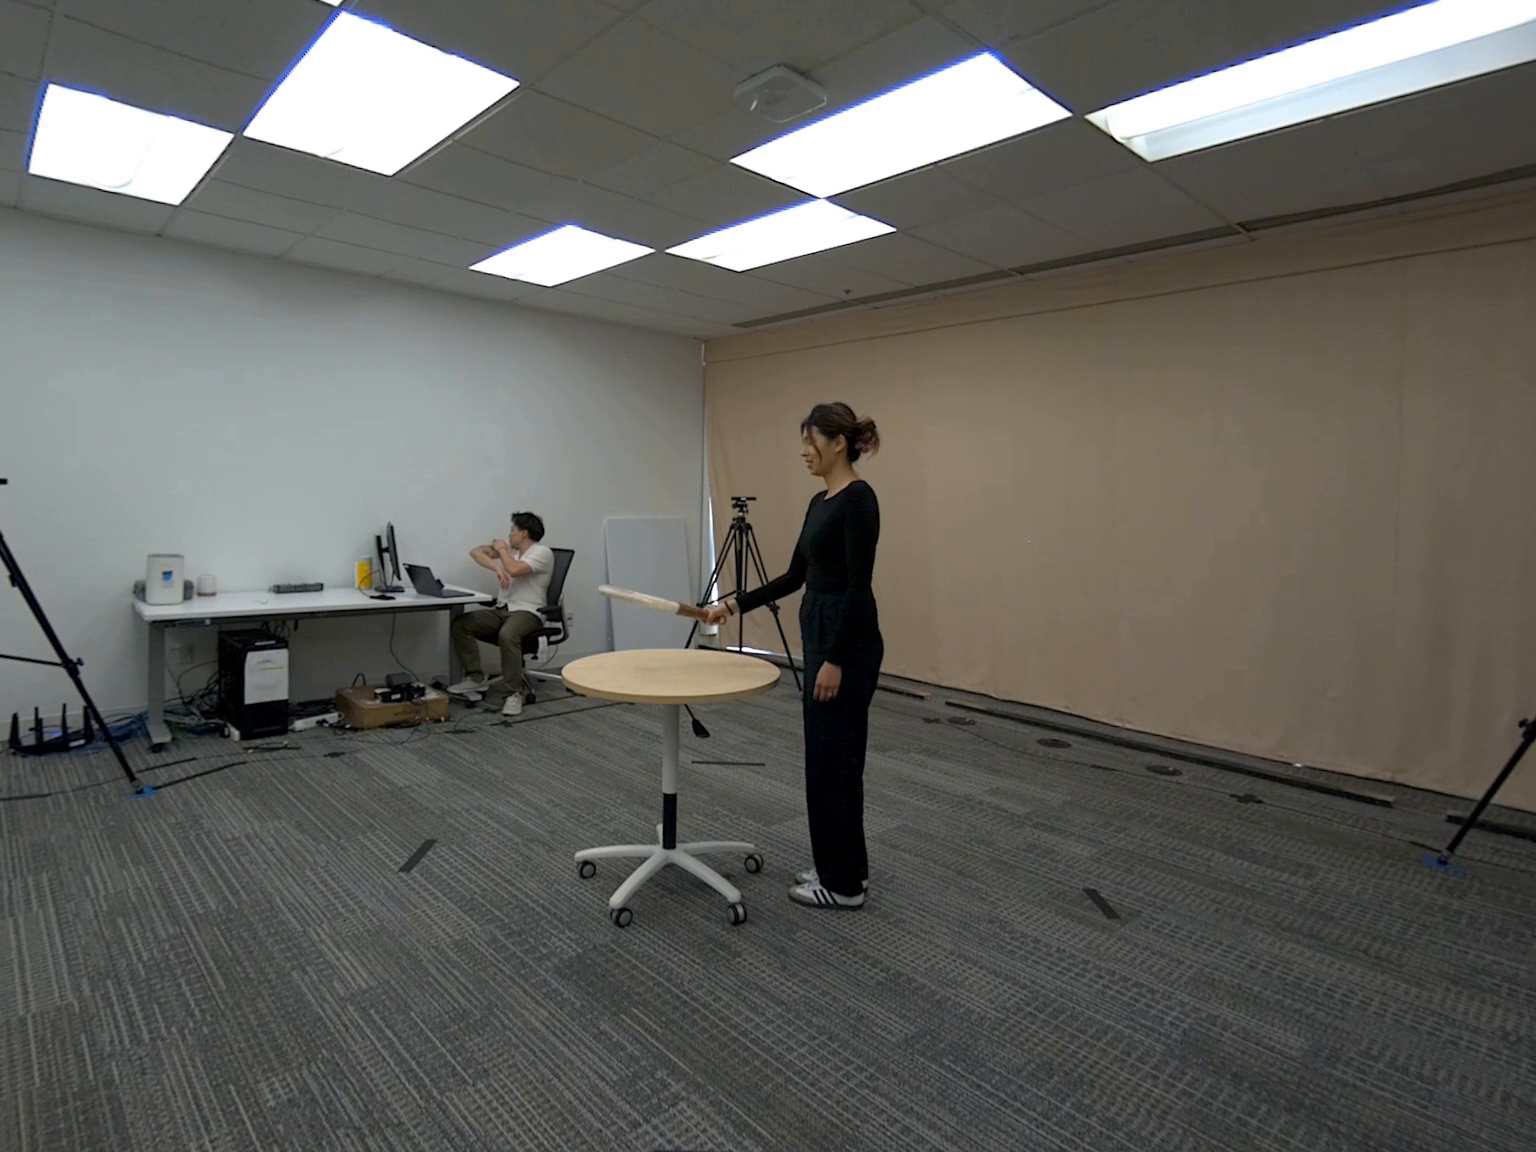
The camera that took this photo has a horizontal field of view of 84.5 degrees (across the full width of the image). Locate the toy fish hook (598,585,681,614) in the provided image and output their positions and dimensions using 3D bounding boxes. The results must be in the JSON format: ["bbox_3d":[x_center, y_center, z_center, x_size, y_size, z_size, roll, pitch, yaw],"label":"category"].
[{"bbox_3d":[-0.346,0.109,2.940,0.495,0.048,0.230,15,2,-27],"label":"toy fish hook"}]
